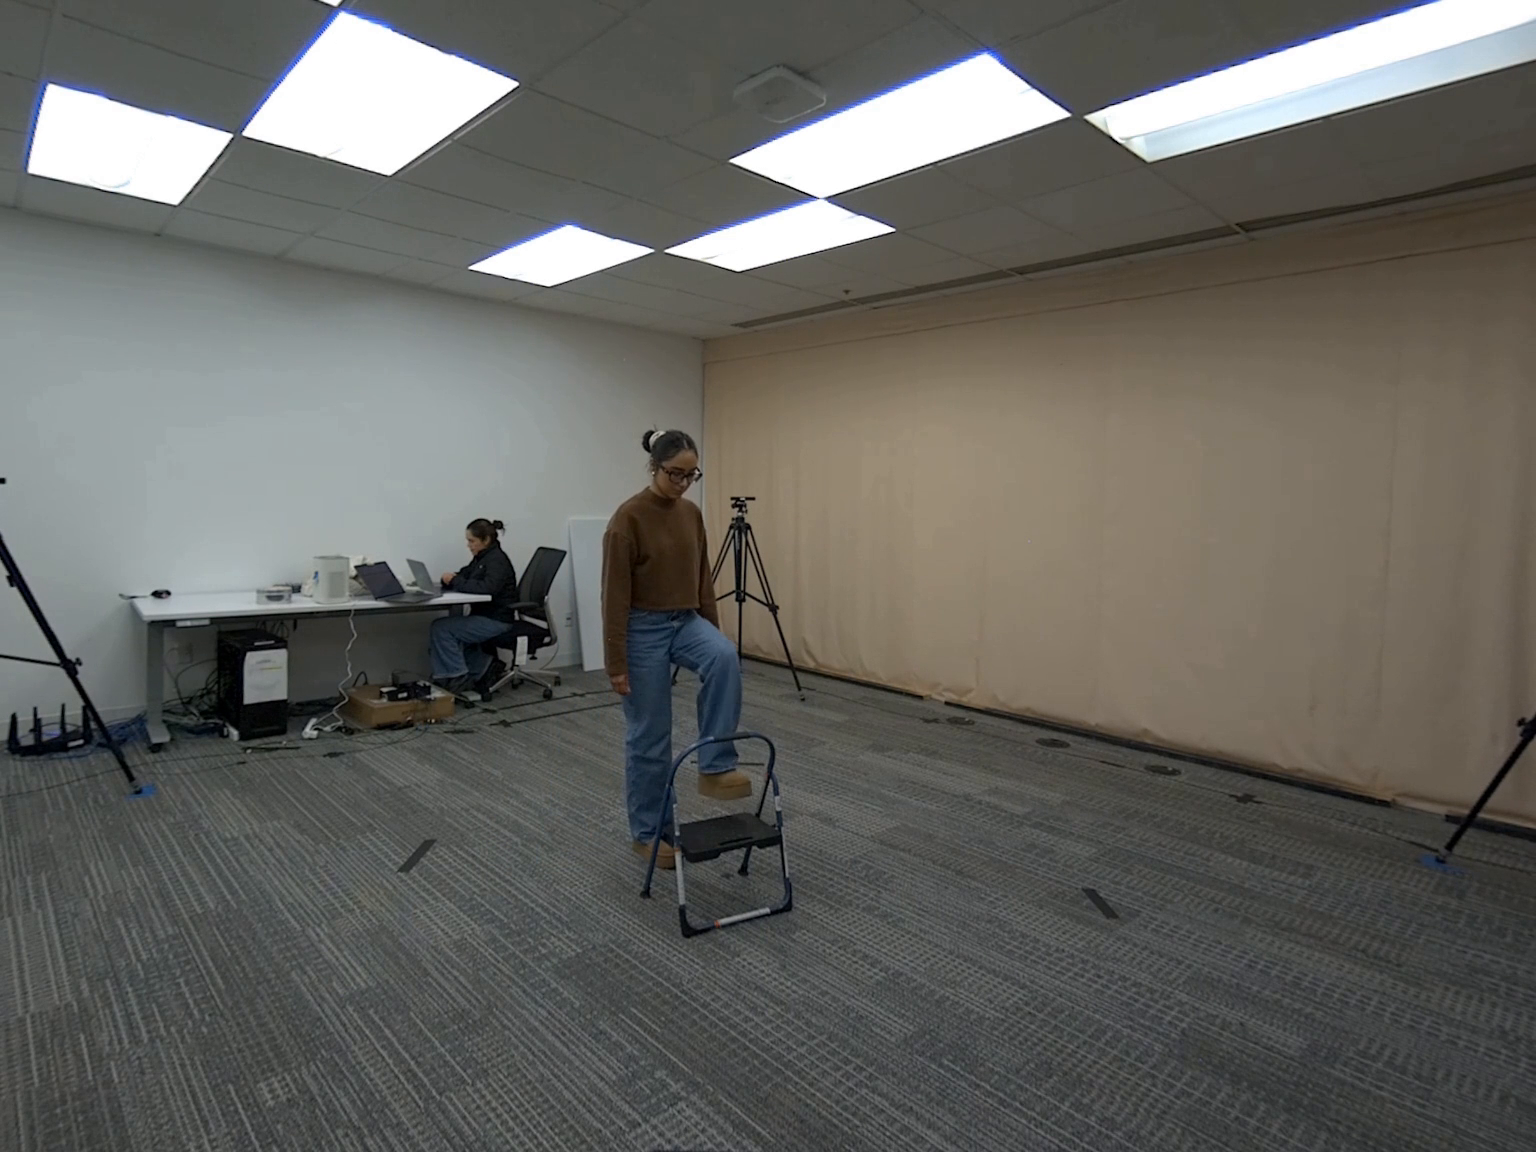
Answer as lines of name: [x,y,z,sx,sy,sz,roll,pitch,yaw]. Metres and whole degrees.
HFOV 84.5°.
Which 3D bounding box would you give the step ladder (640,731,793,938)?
step ladder: [-0.175,0.823,2.880,0.421,0.604,0.357,0,4,-32]
